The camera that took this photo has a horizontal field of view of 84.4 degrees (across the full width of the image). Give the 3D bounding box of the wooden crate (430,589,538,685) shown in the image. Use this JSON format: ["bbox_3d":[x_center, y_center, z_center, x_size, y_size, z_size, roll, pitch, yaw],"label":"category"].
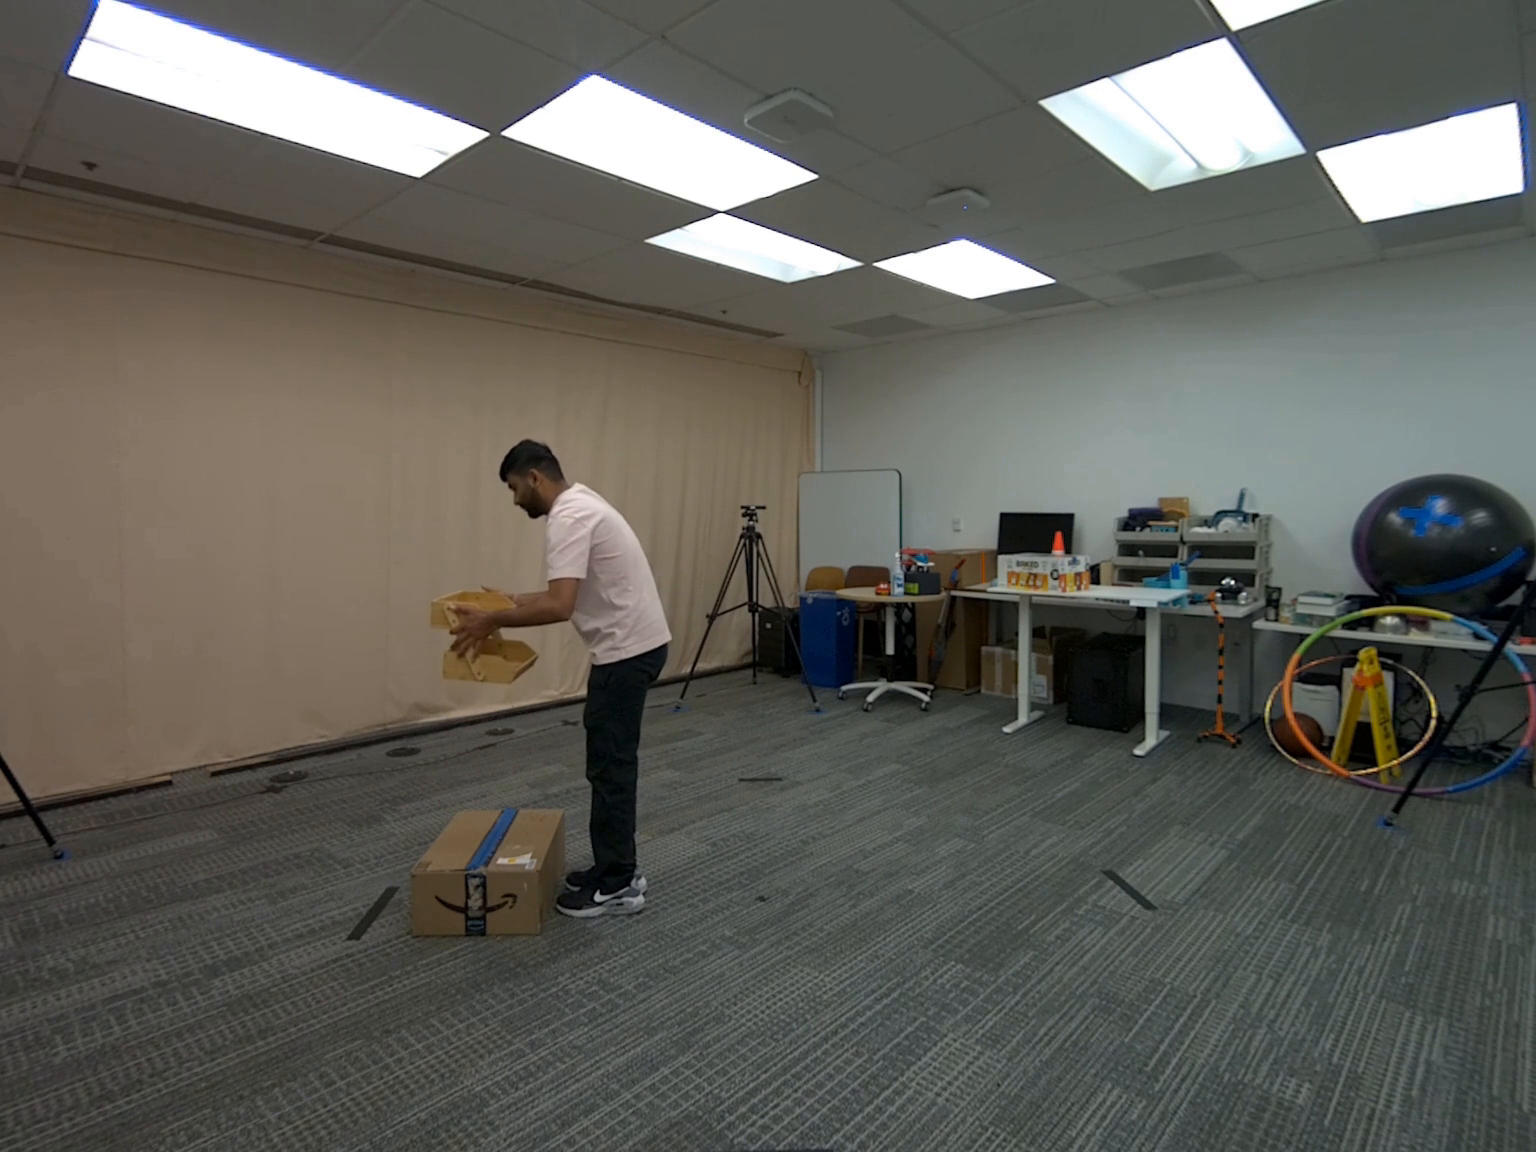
[{"bbox_3d":[-0.977,0.211,2.947,0.302,0.273,0.325,4,4,-1],"label":"wooden crate"}]
